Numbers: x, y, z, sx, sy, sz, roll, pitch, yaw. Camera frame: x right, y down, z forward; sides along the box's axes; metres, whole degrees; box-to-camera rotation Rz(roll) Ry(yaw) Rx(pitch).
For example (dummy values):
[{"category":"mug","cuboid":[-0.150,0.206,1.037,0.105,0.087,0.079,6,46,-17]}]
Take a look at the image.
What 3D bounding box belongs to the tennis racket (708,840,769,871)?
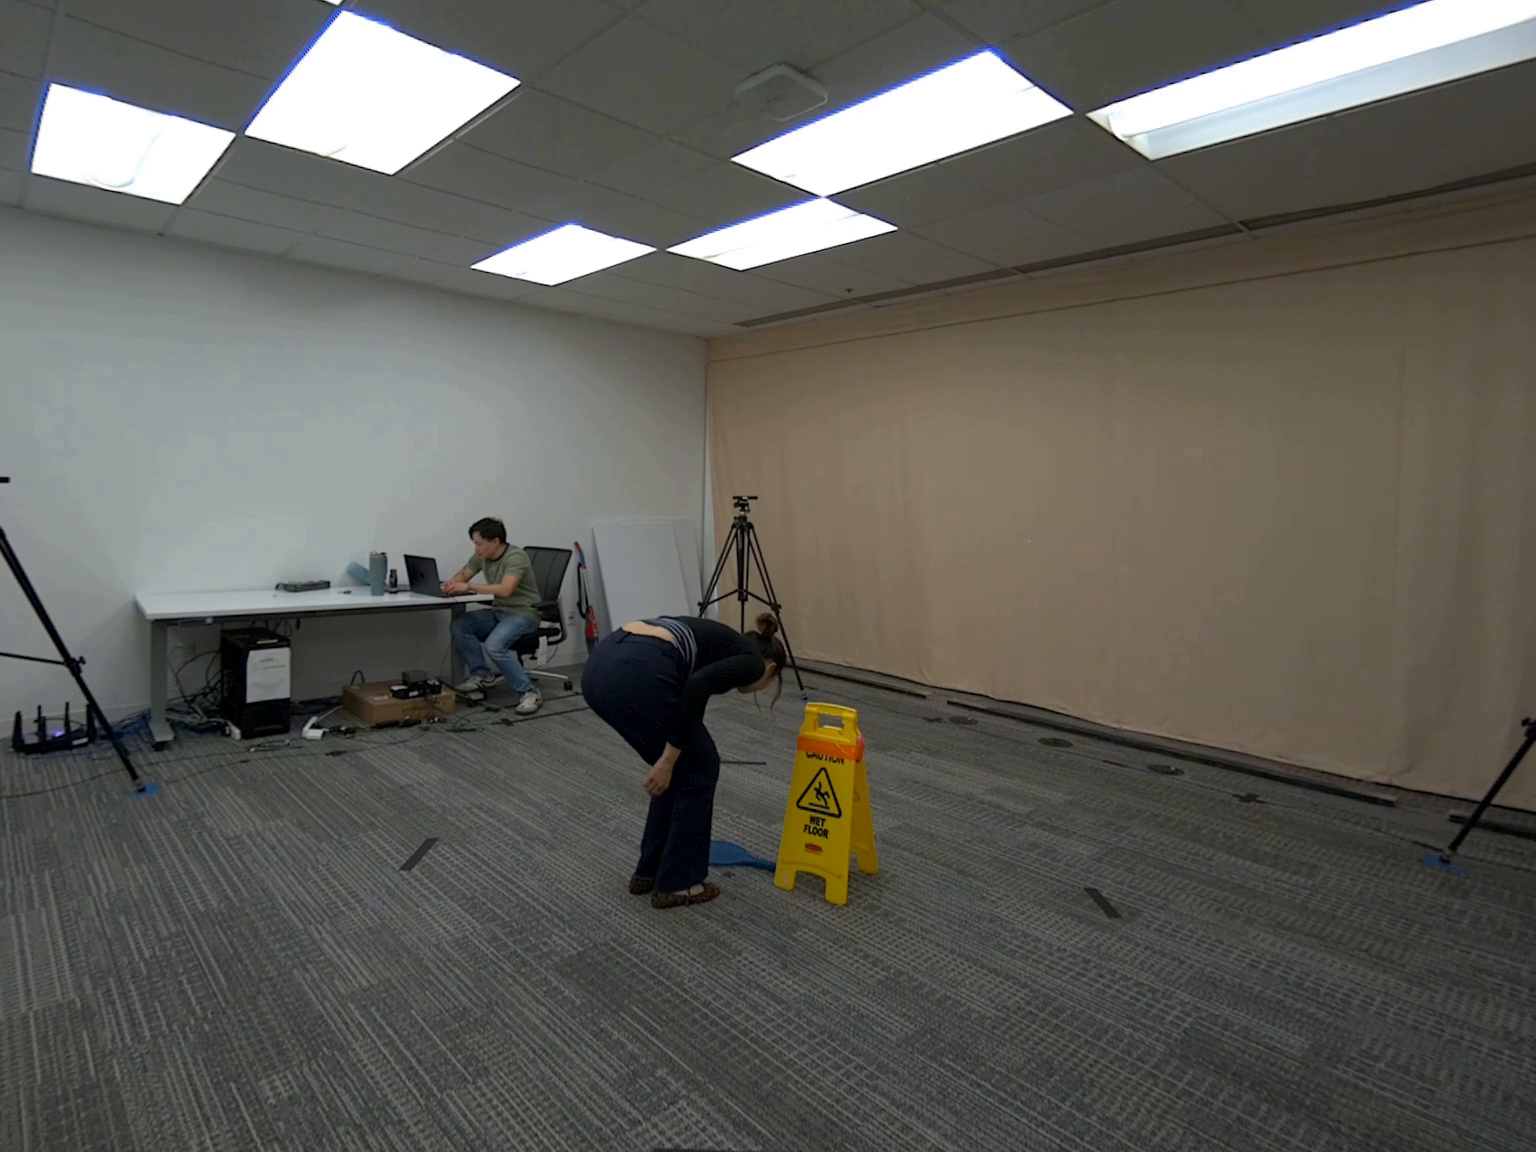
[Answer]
[{"category":"tennis racket","cuboid":[-0.136,1.075,3.238,0.442,0.031,0.210,2,6,31]}]
